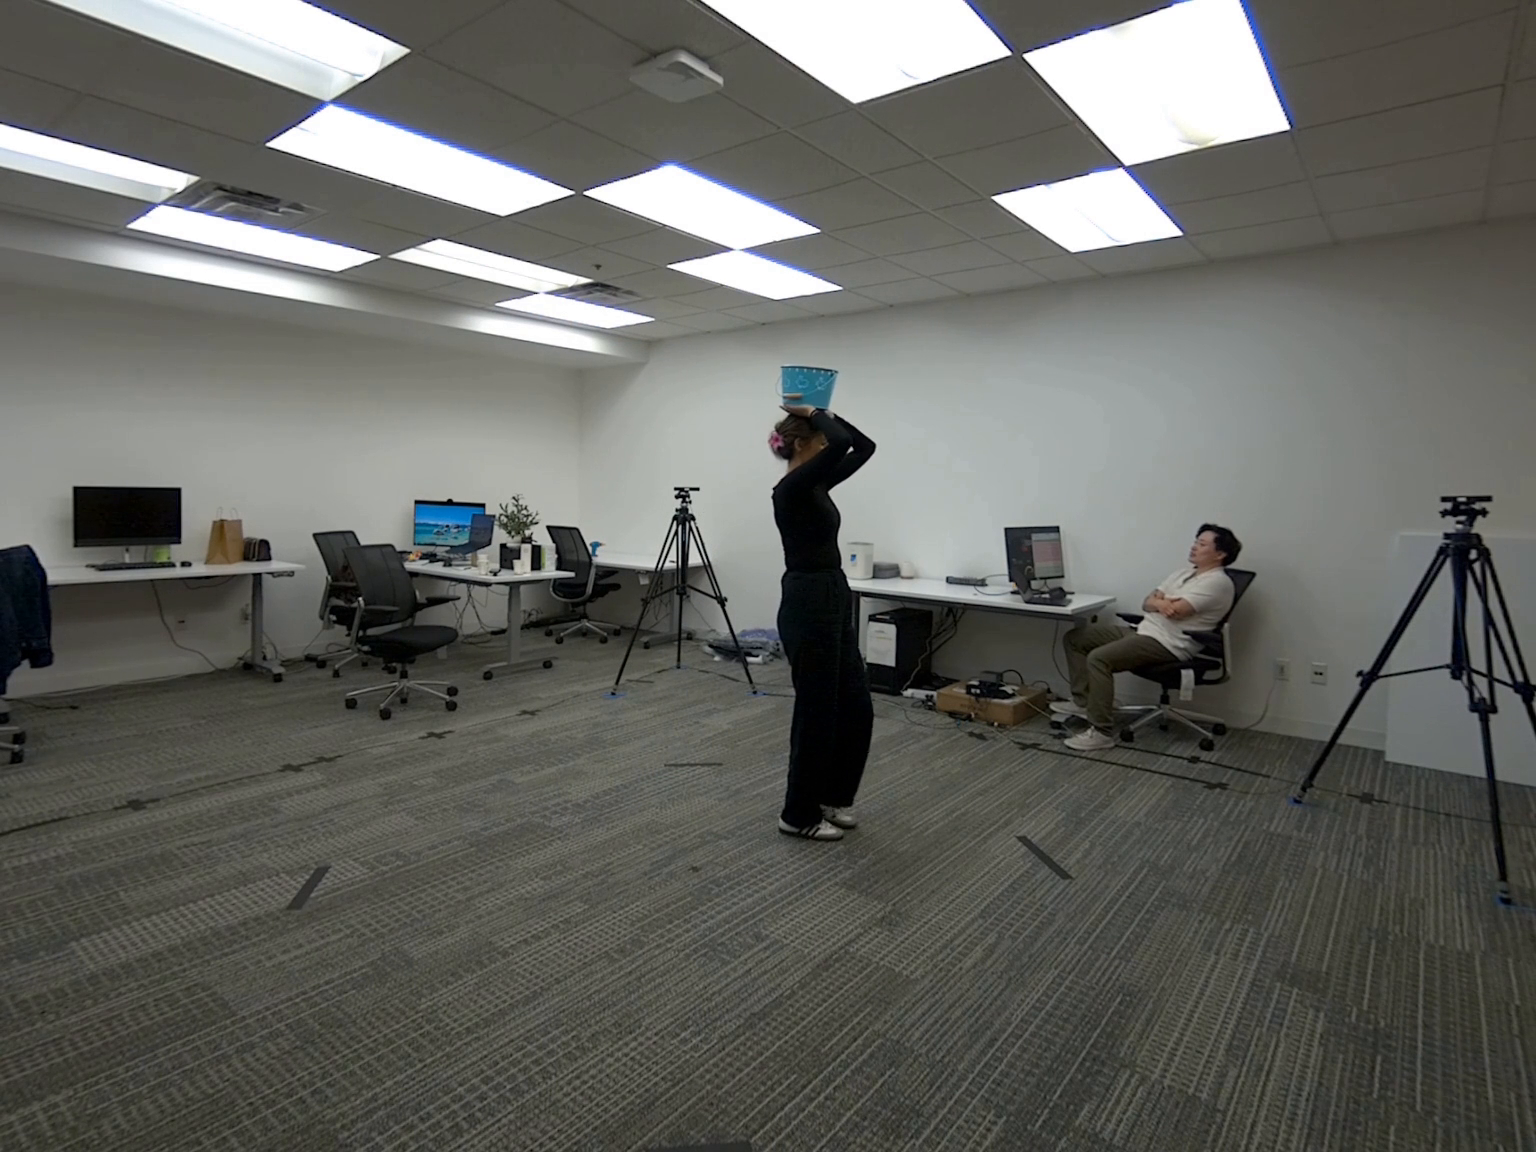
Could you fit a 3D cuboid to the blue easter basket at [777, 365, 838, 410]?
[{"bbox_3d":[0.143,-0.742,3.361,0.243,0.155,0.246,6,8,-3],"label":"blue easter basket"}]
